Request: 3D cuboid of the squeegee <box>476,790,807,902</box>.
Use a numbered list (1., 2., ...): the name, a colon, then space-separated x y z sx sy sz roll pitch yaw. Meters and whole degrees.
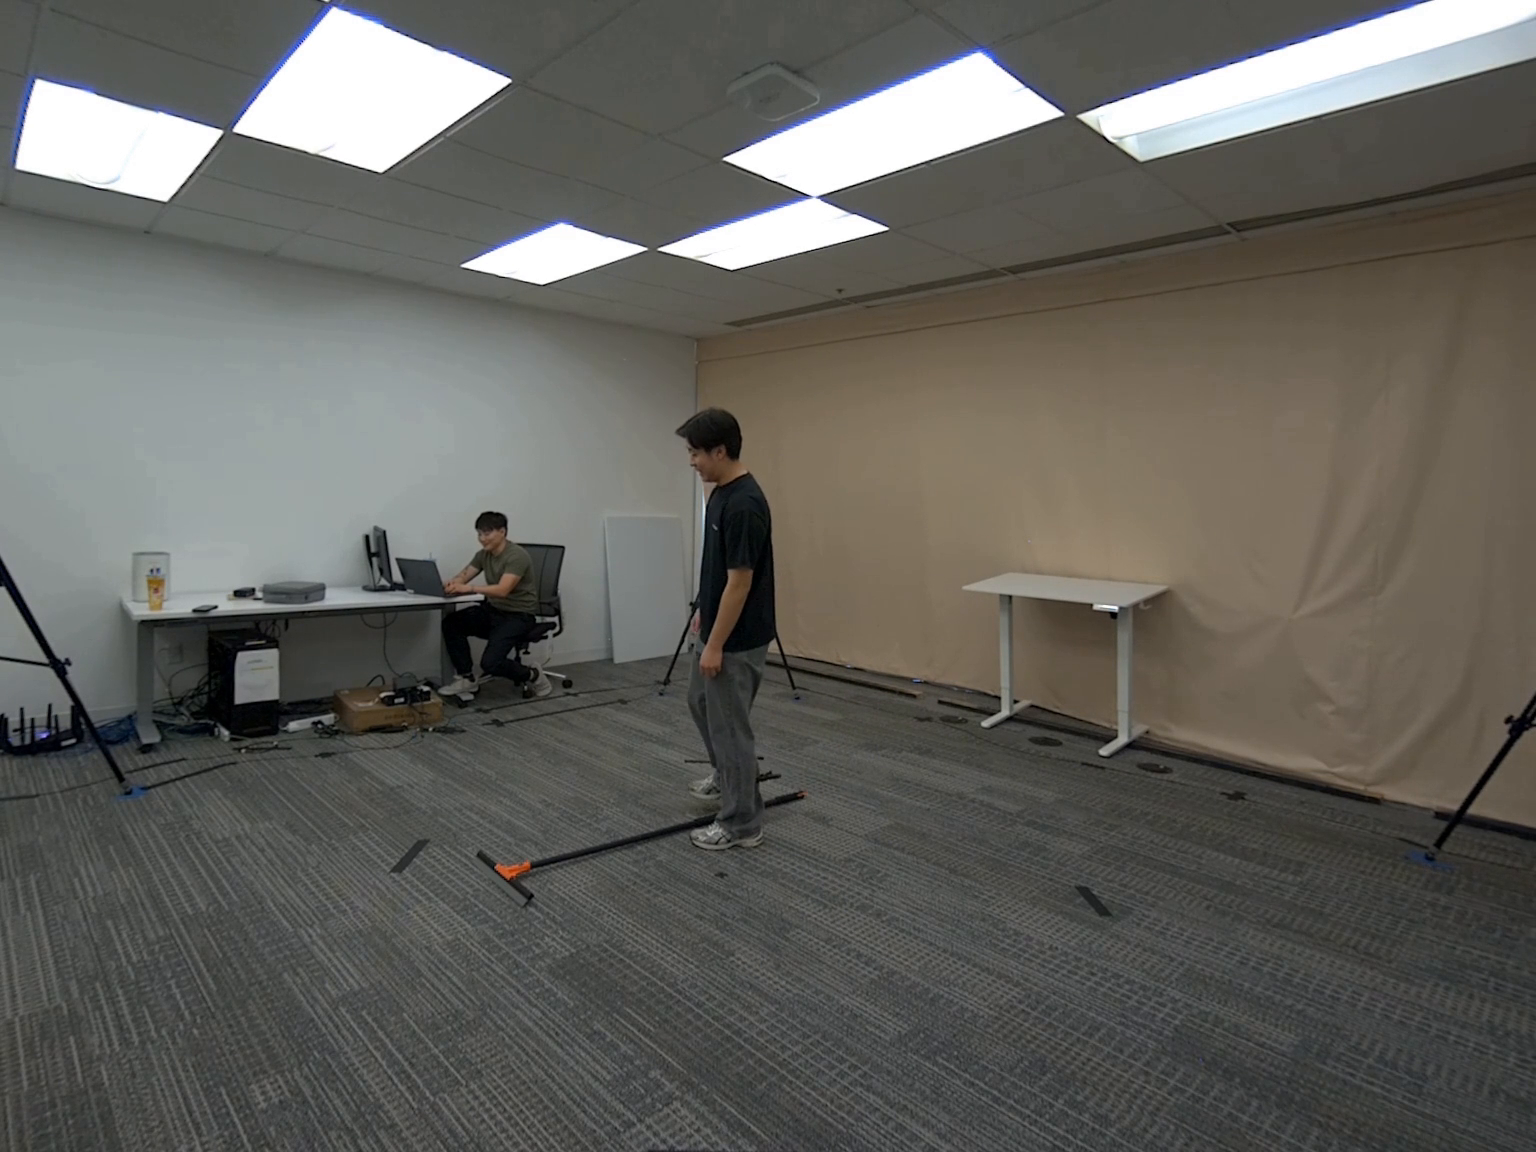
1. squeegee: -0.403 1.027 3.466 1.502 0.053 0.449 -2 7 -40
